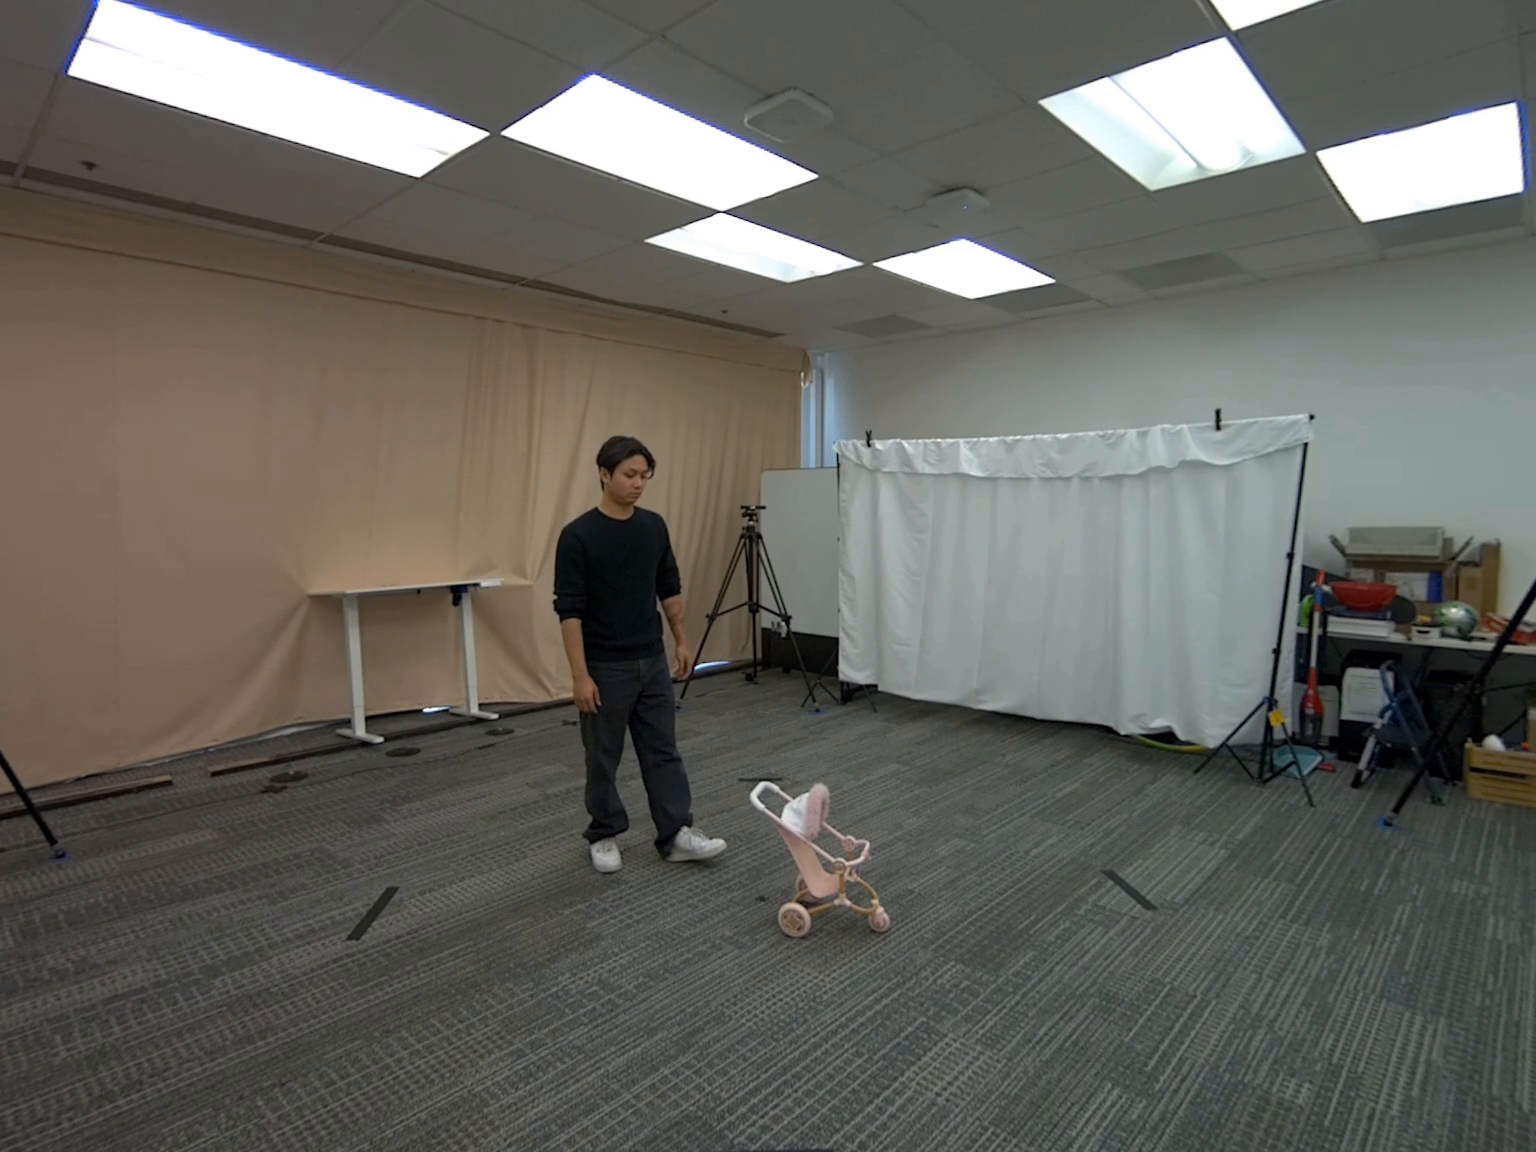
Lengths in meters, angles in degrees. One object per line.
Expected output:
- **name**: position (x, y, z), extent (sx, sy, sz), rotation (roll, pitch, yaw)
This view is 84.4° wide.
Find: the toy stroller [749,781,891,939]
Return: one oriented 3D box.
- **toy stroller**: position (0.183, 0.935, 2.802), extent (0.347, 0.536, 0.276), rotation (-16, -2, 22)
